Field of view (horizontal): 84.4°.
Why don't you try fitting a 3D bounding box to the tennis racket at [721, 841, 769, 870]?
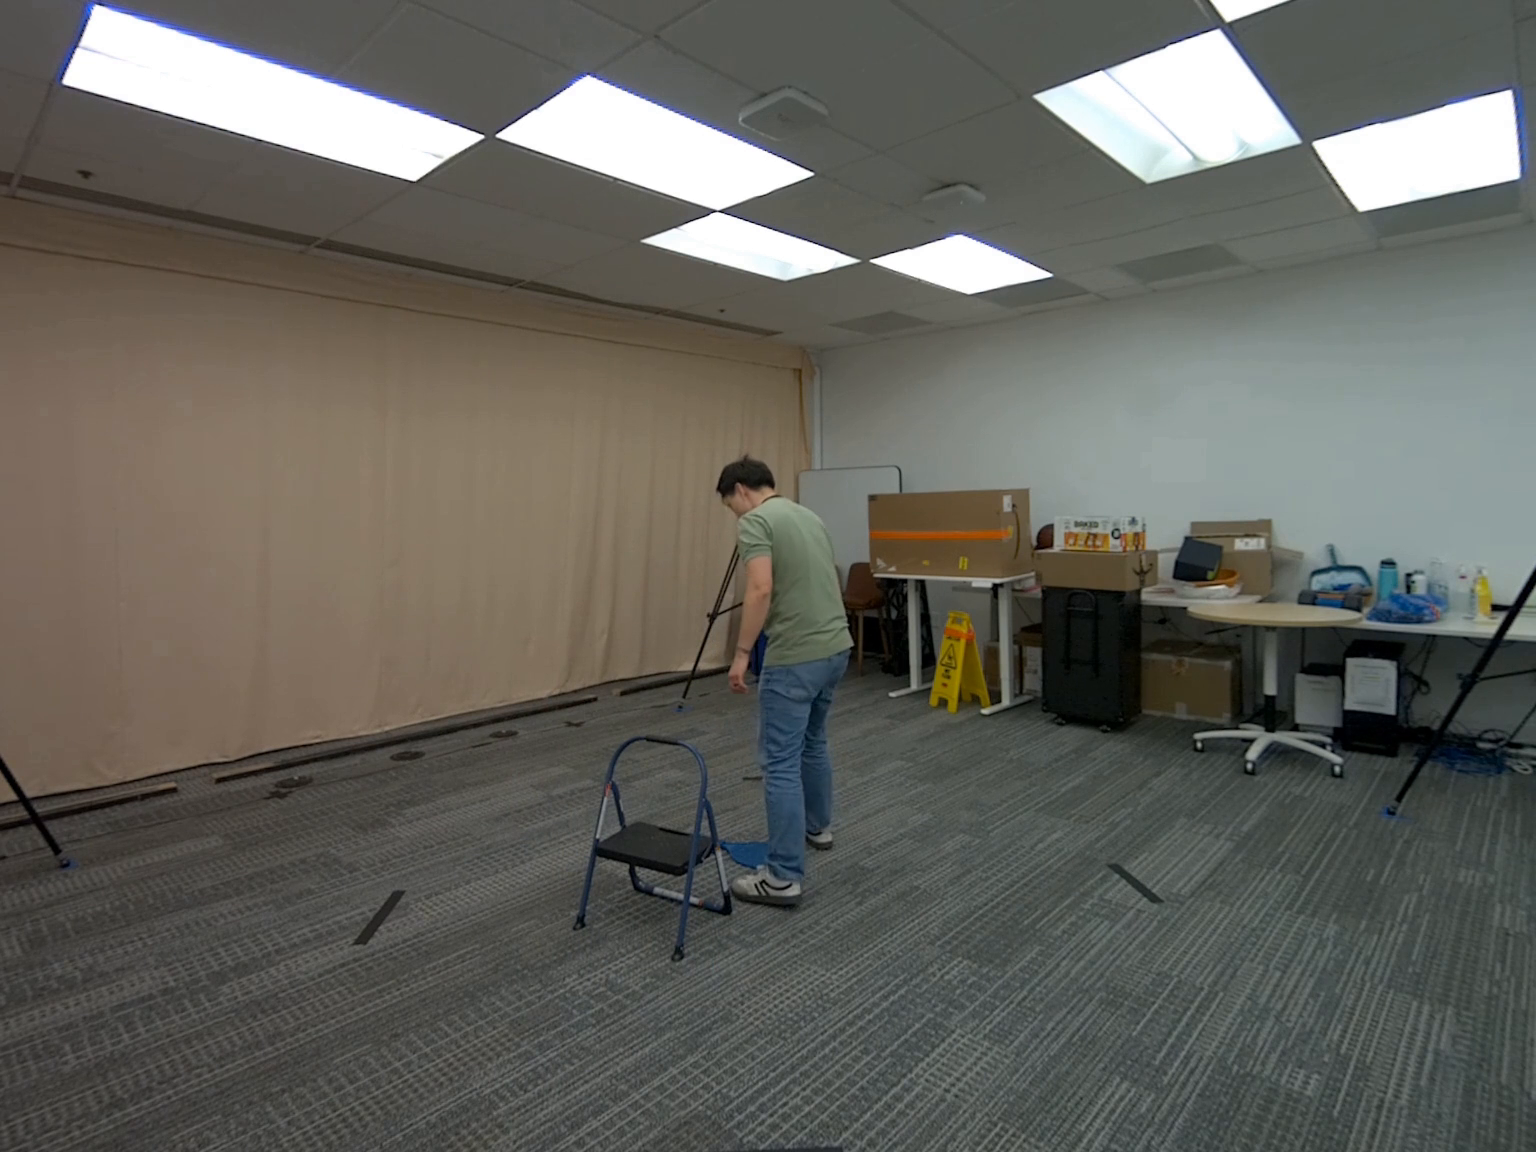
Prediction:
[{"bbox_3d":[-0.090,1.096,3.371,0.446,0.031,0.208,4,7,34],"label":"tennis racket"}]
